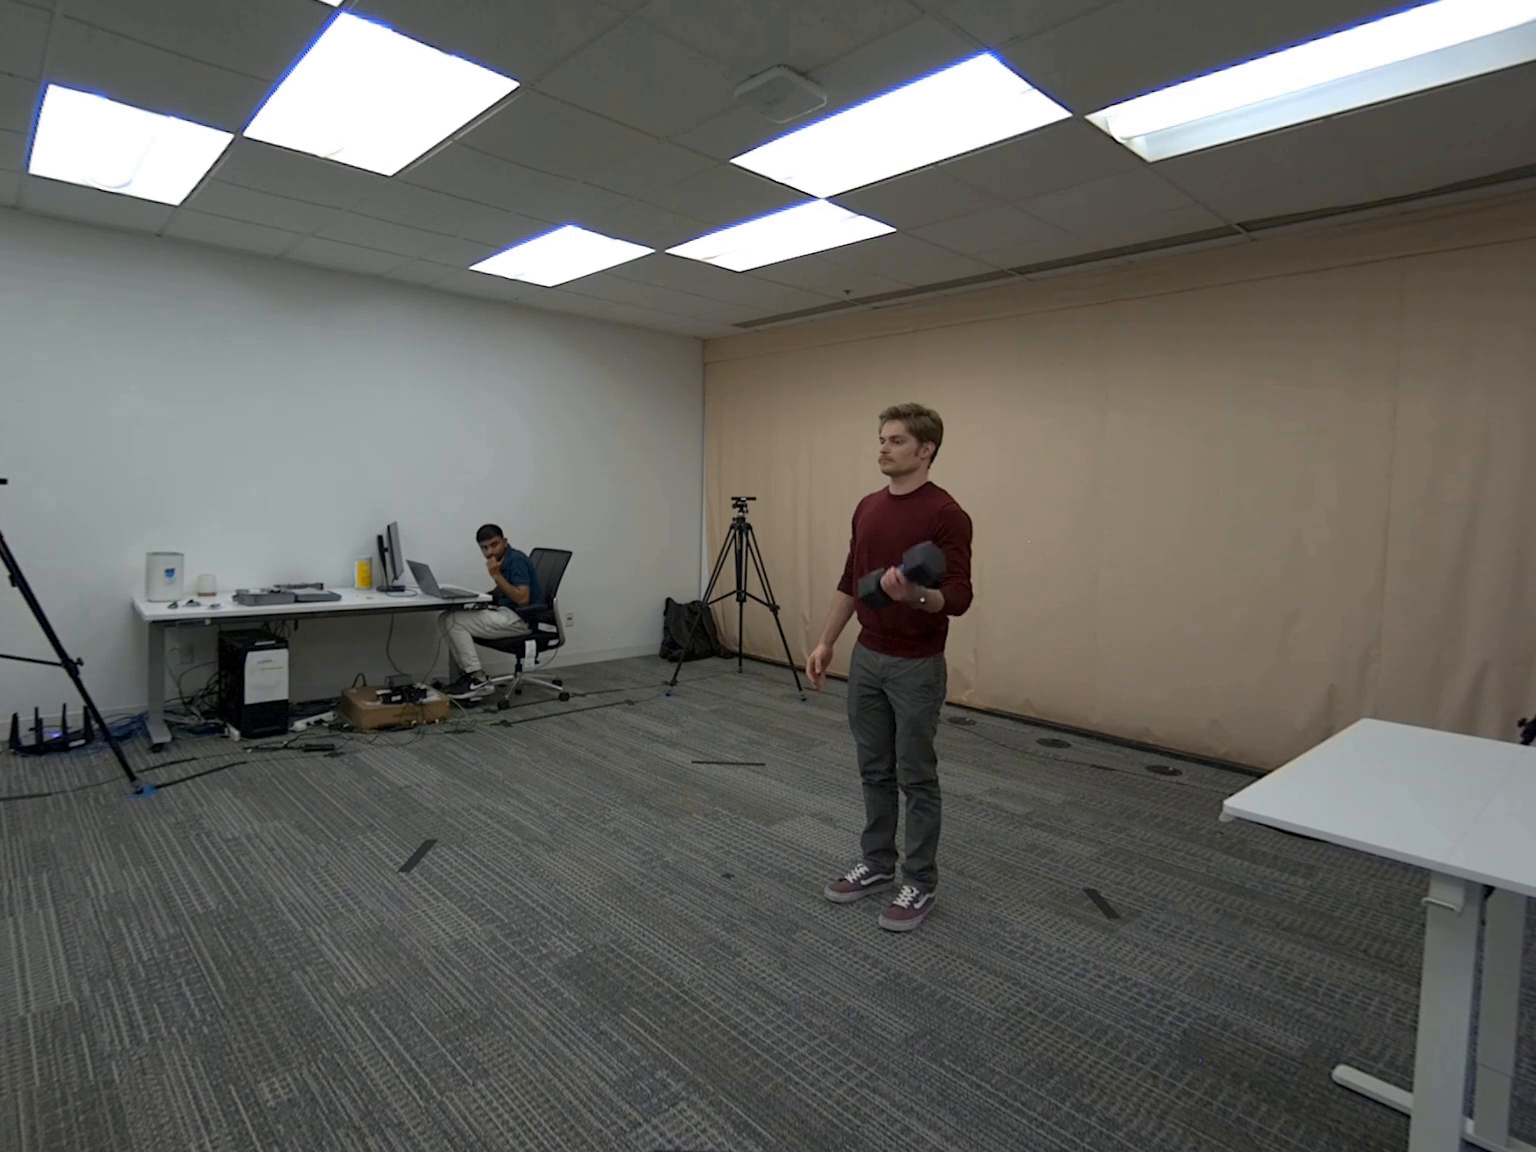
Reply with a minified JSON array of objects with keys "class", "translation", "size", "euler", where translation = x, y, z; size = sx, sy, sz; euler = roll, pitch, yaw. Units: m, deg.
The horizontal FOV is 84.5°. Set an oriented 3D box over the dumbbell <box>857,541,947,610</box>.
[{"class":"dumbbell","translation":[0.397,0.012,2.483],"size":[0.121,0.110,0.295],"euler":[-18,-10,-38]}]
